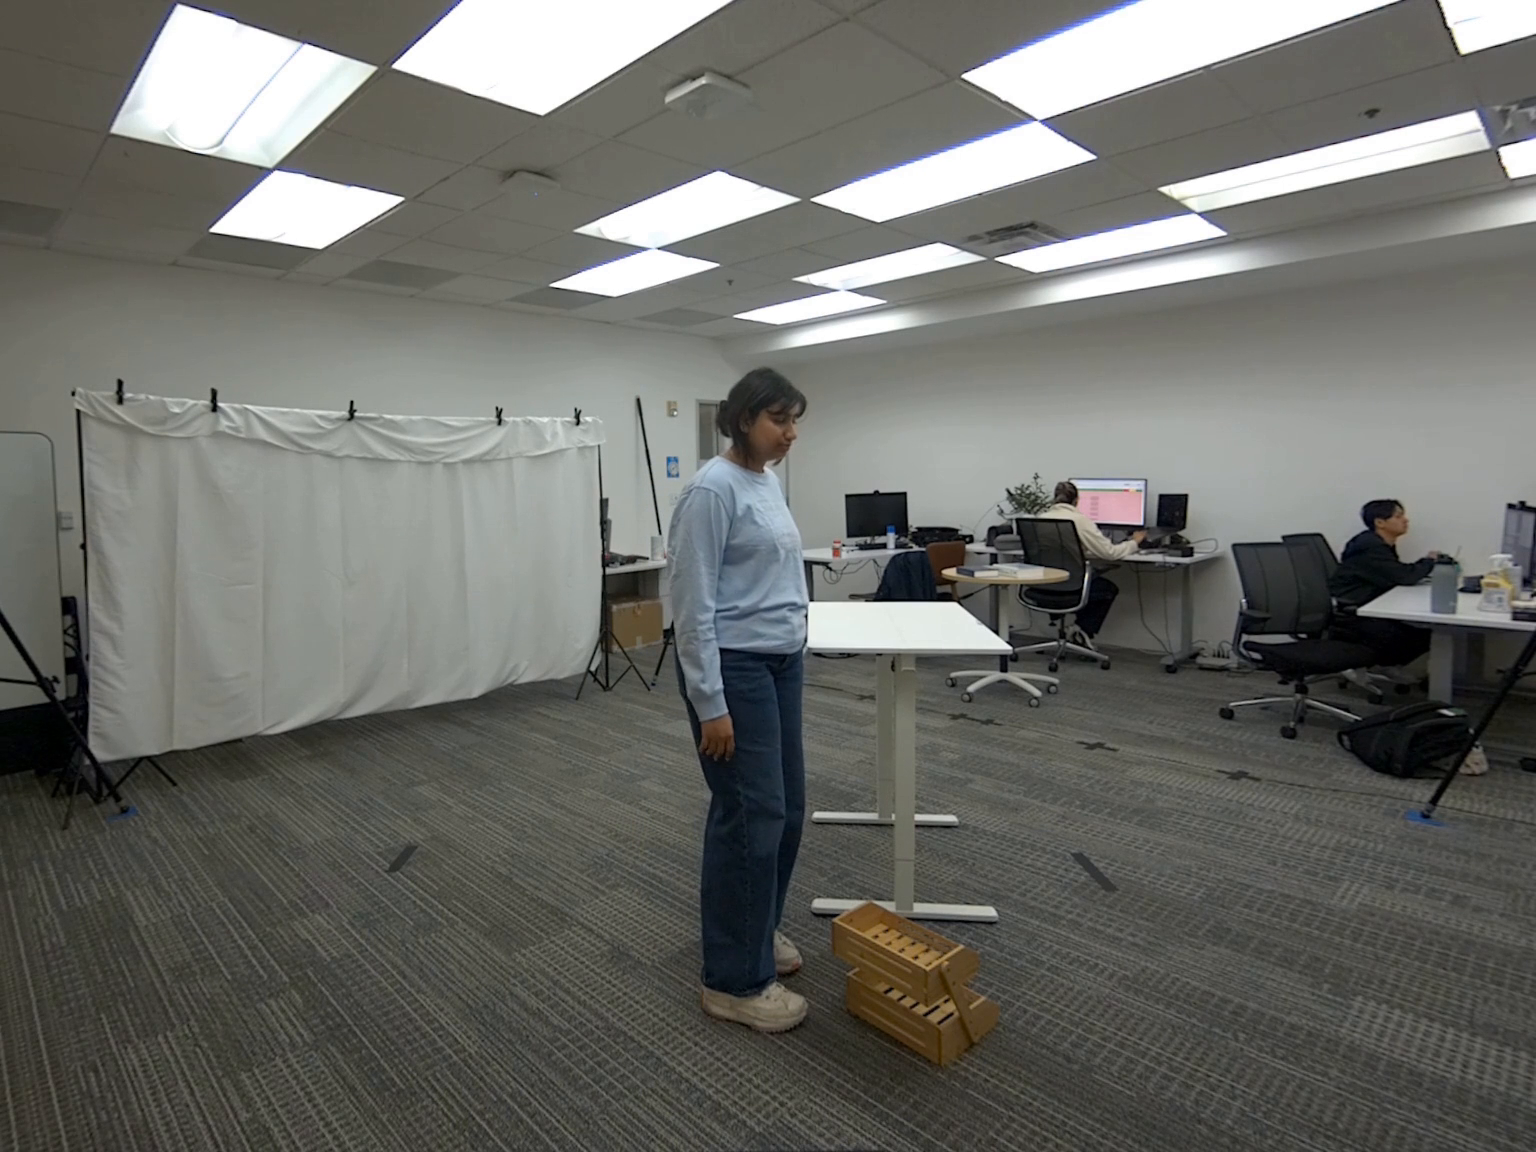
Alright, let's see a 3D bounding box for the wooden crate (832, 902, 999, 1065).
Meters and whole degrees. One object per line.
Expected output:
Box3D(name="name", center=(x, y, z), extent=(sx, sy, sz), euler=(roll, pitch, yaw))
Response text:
Box3D(name="wooden crate", center=(0.382, 1.000, 2.200), extent=(0.294, 0.272, 0.334), euler=(-7, 7, -41))
